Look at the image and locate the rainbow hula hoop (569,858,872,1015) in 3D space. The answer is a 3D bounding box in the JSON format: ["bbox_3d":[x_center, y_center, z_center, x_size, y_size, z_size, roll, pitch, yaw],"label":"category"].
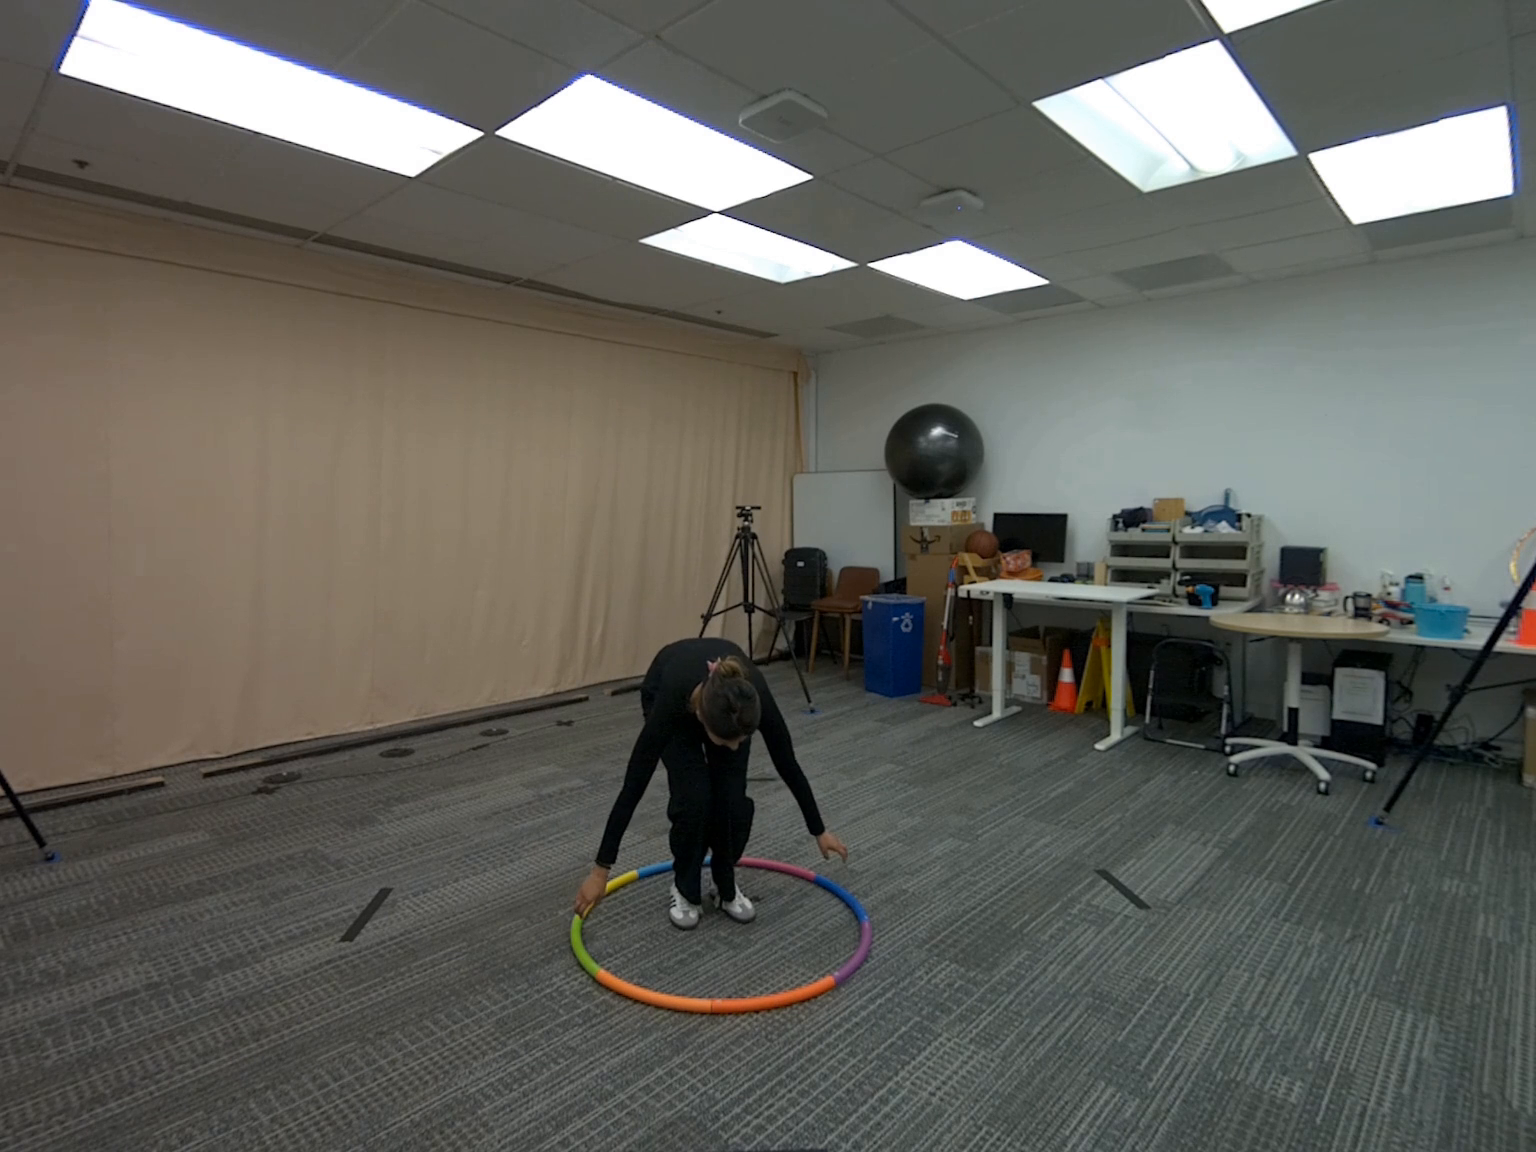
[{"bbox_3d":[-0.154,1.132,2.791,0.978,0.035,0.982,-1,5,-2],"label":"rainbow hula hoop"}]
